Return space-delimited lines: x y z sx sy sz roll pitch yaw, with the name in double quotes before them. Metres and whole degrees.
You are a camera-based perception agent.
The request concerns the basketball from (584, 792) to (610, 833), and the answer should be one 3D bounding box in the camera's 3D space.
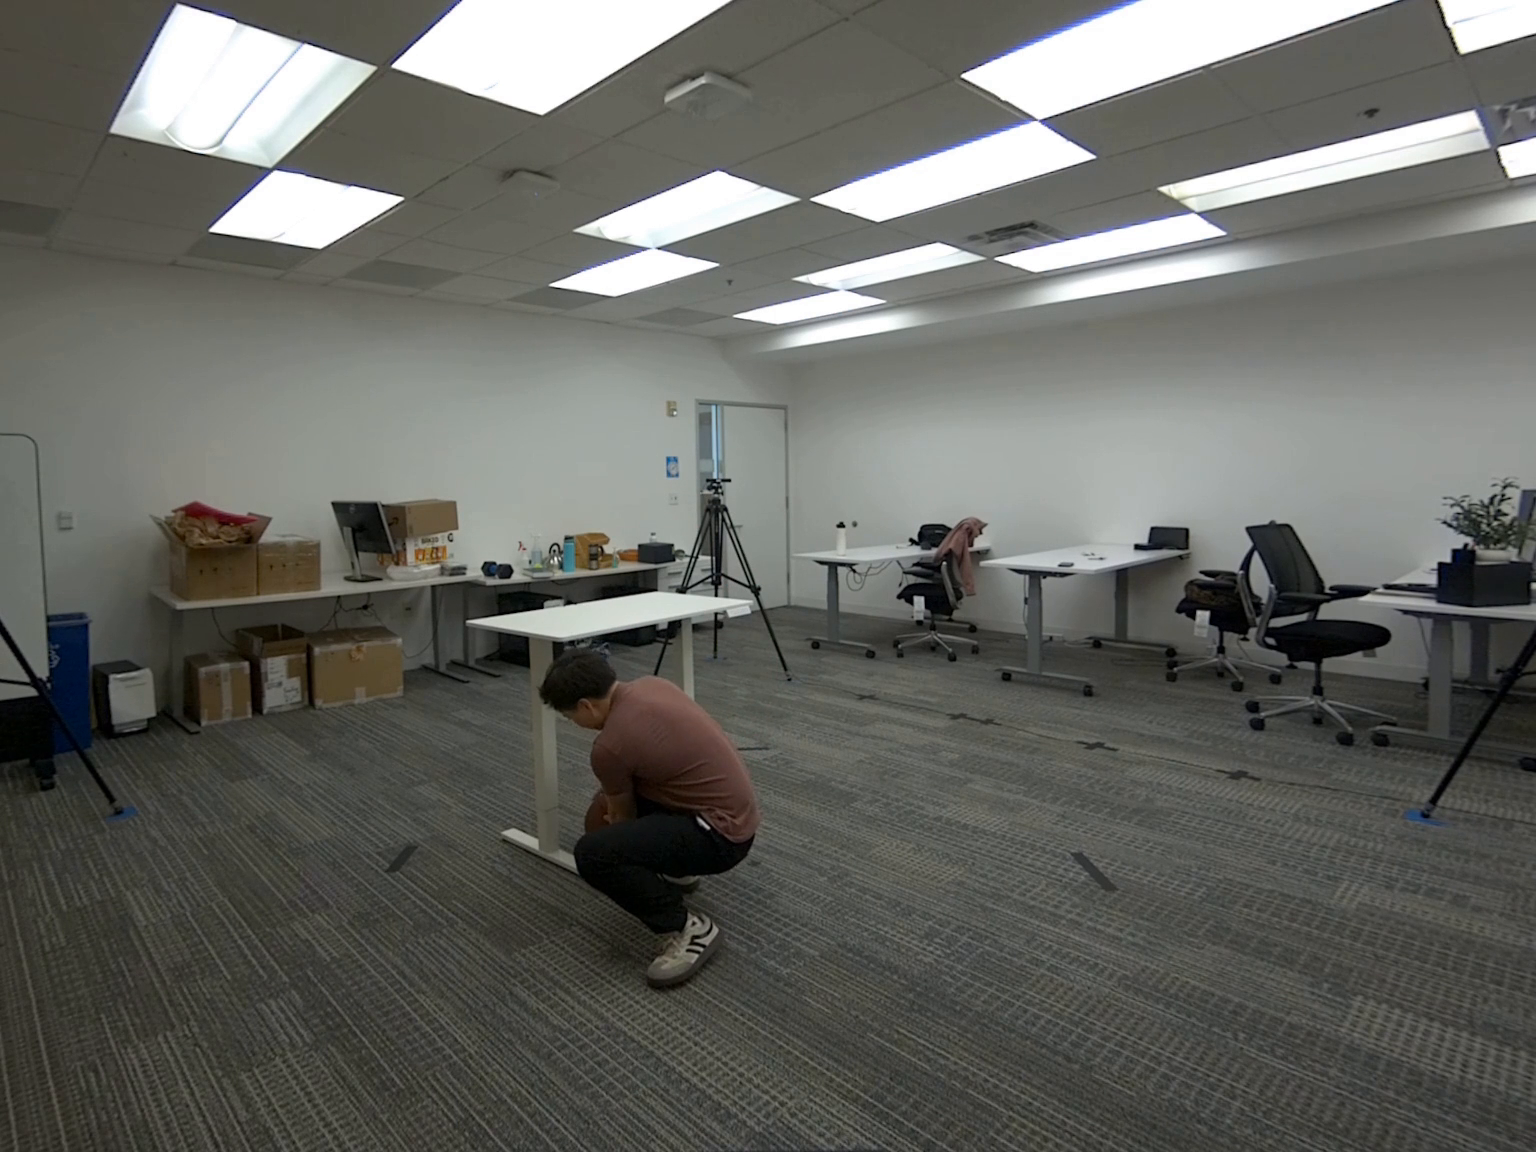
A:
"basketball" -0.554 0.926 3.185 0.236 0.235 0.237 -1 5 -2
